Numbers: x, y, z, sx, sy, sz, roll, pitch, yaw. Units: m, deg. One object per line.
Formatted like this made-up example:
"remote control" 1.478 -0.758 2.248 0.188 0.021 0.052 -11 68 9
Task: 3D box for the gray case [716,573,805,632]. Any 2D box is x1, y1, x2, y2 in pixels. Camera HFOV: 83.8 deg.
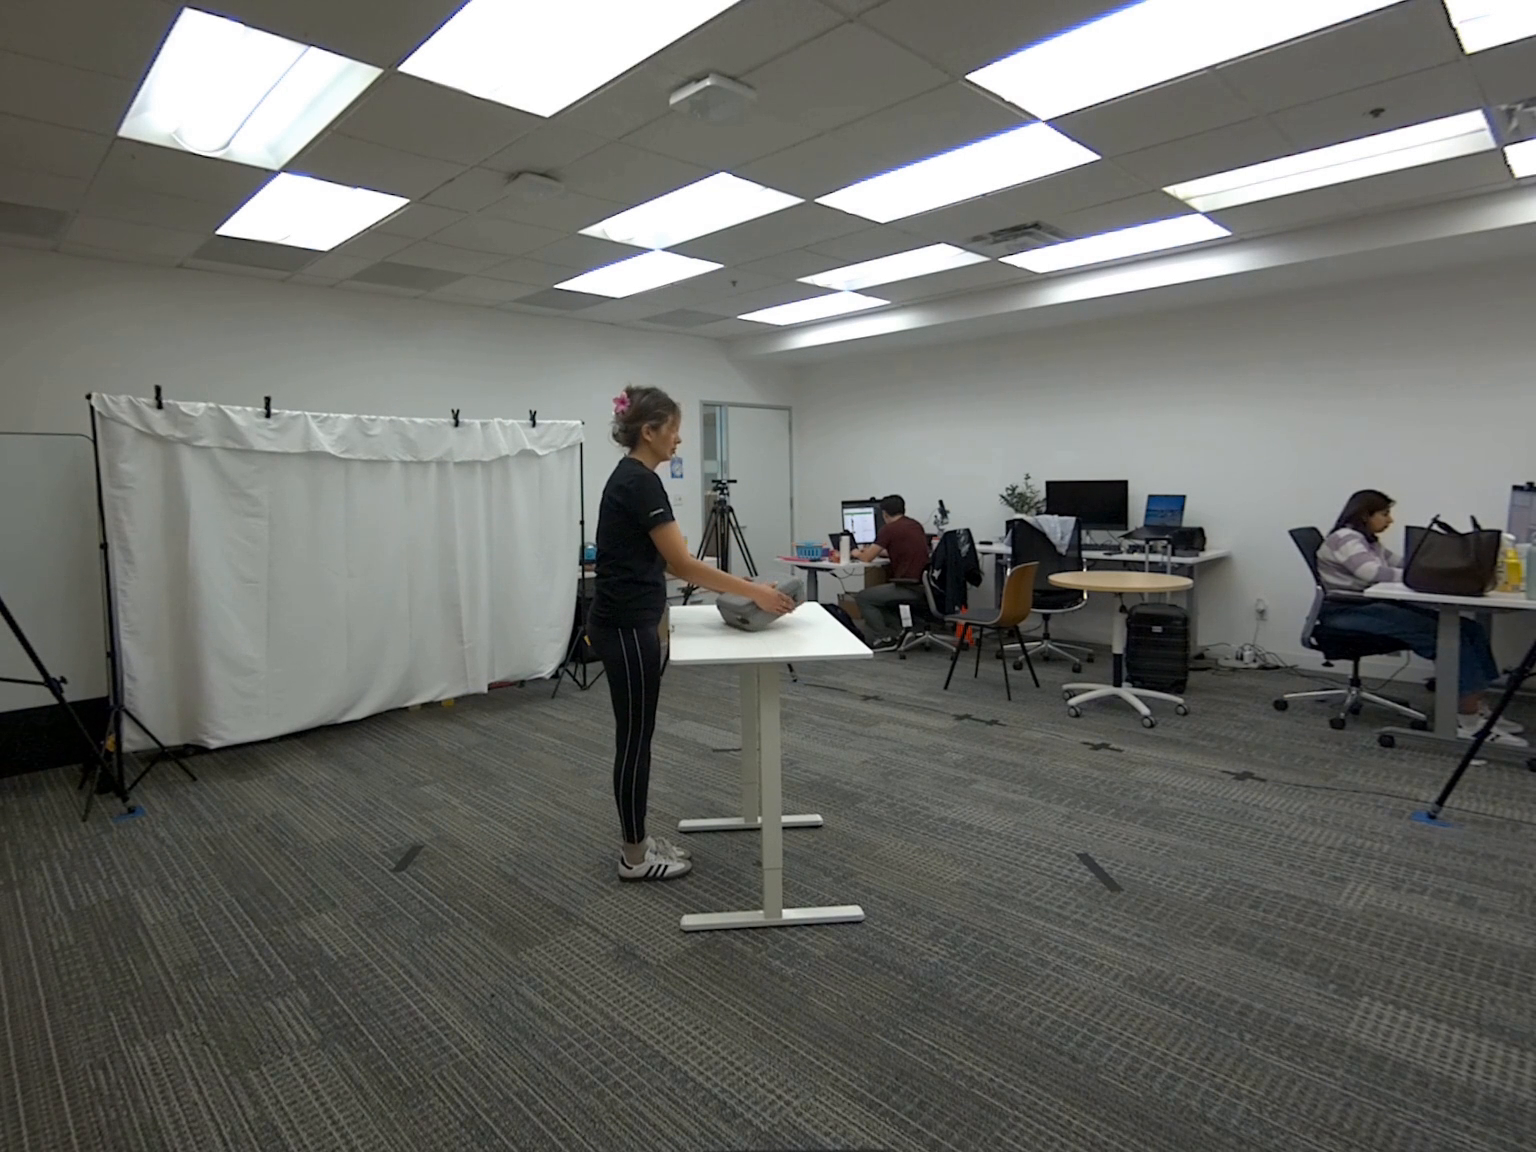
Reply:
"gray case" -0.028 0.085 3.013 0.258 0.103 0.263 -27 16 -19
